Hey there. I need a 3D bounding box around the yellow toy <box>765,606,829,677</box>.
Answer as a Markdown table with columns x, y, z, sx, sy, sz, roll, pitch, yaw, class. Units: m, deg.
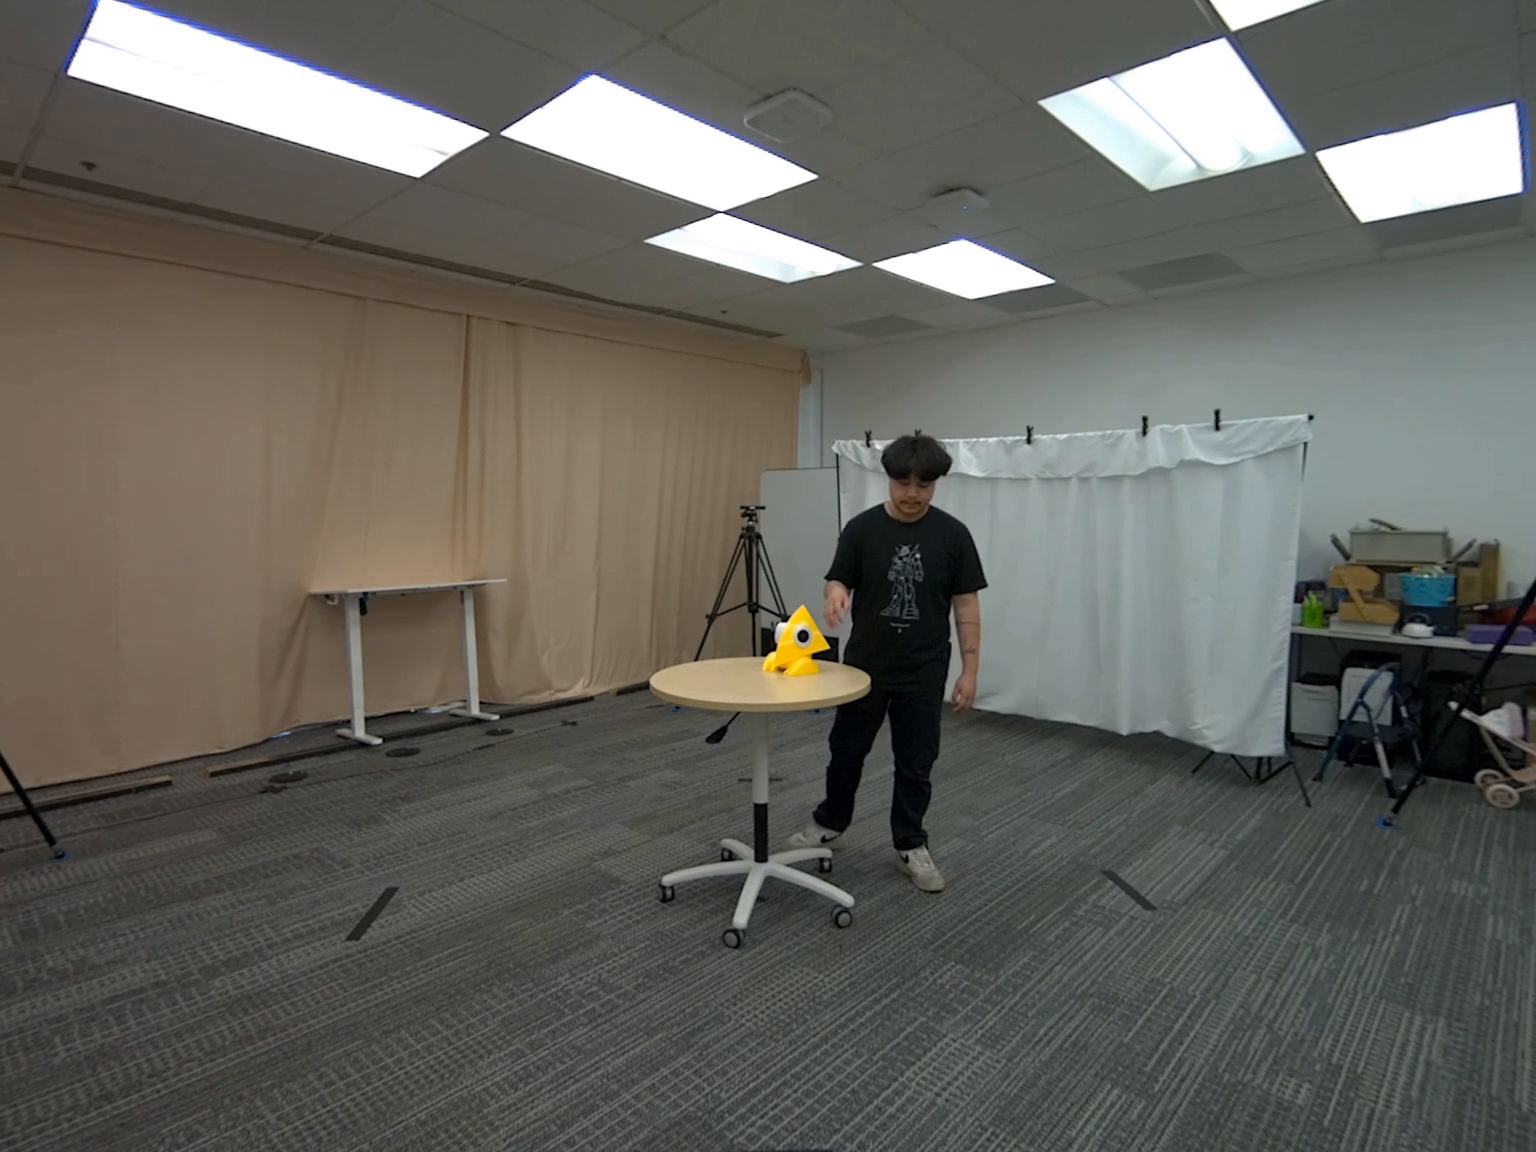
| x | y | z | sx | sy | sz | roll | pitch | yaw | class |
| --- | --- | --- | --- | --- | --- | --- | --- | --- | --- |
| 0.091 | 0.228 | 3.060 | 0.211 | 0.230 | 0.187 | 3 | 5 | 45 | yellow toy |
